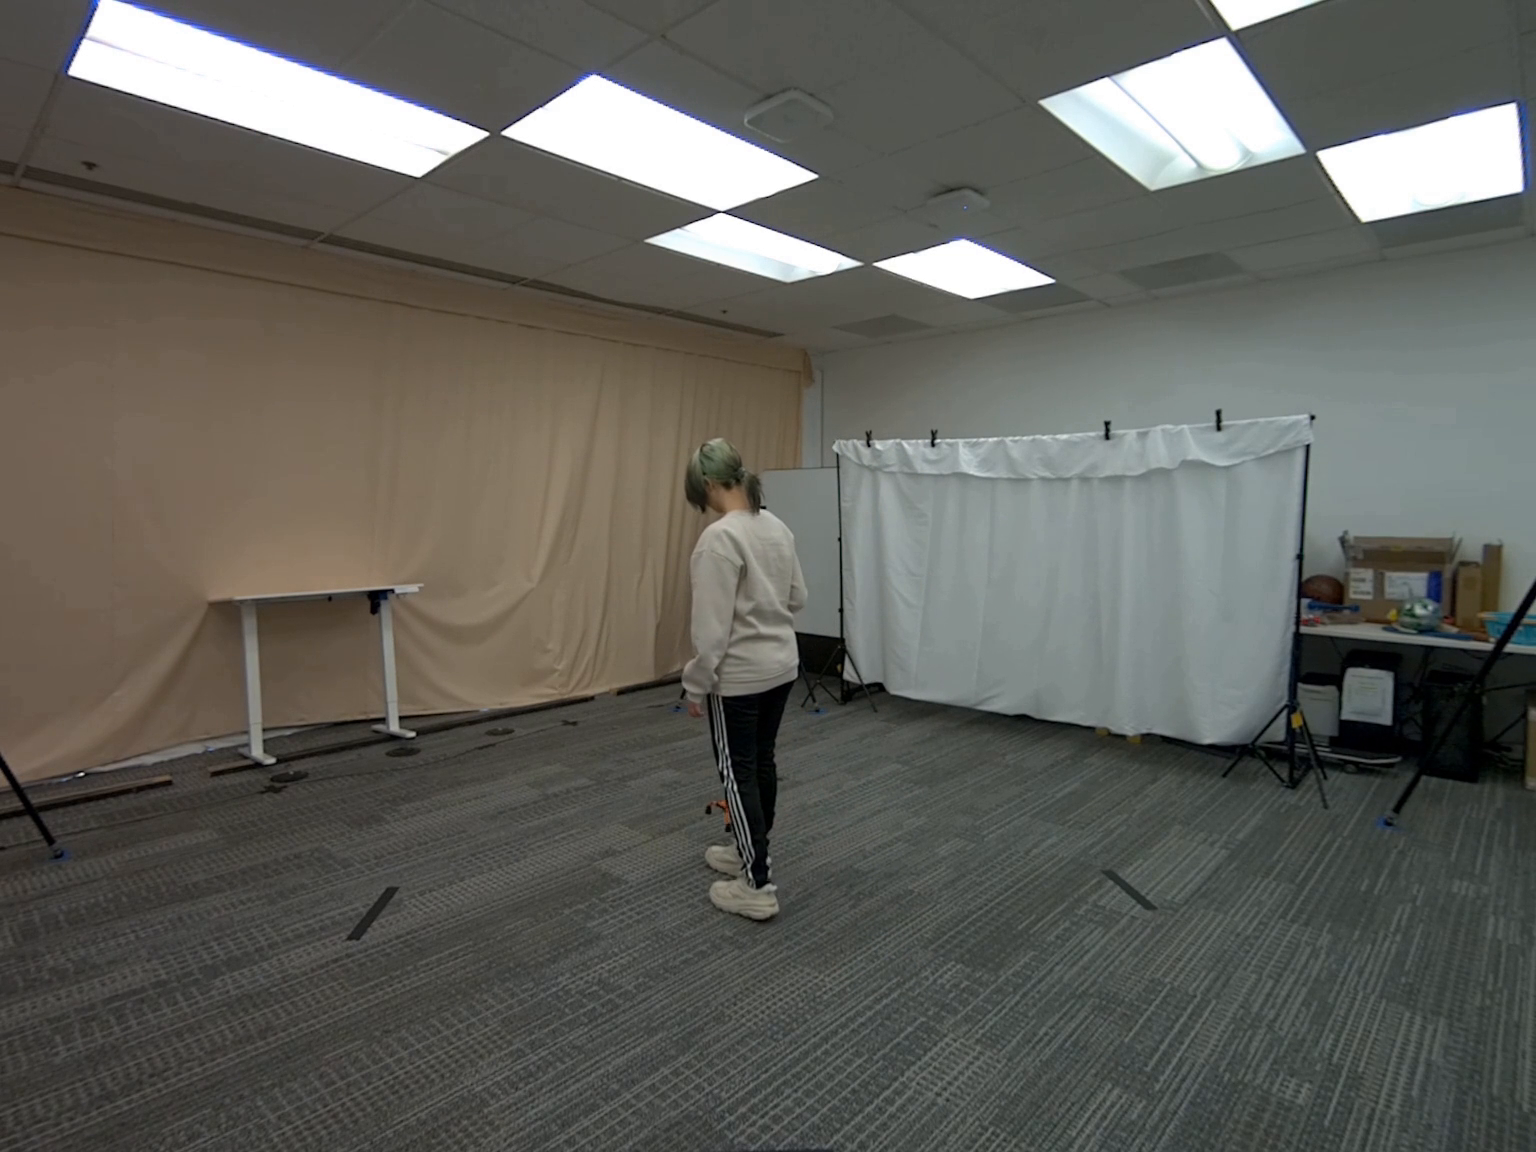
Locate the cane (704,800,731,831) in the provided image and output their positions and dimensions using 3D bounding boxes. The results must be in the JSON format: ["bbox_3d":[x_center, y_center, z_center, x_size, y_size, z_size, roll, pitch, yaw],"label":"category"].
[{"bbox_3d":[-0.132,0.572,3.435,0.148,0.903,0.213,-2,9,-28],"label":"cane"}]
